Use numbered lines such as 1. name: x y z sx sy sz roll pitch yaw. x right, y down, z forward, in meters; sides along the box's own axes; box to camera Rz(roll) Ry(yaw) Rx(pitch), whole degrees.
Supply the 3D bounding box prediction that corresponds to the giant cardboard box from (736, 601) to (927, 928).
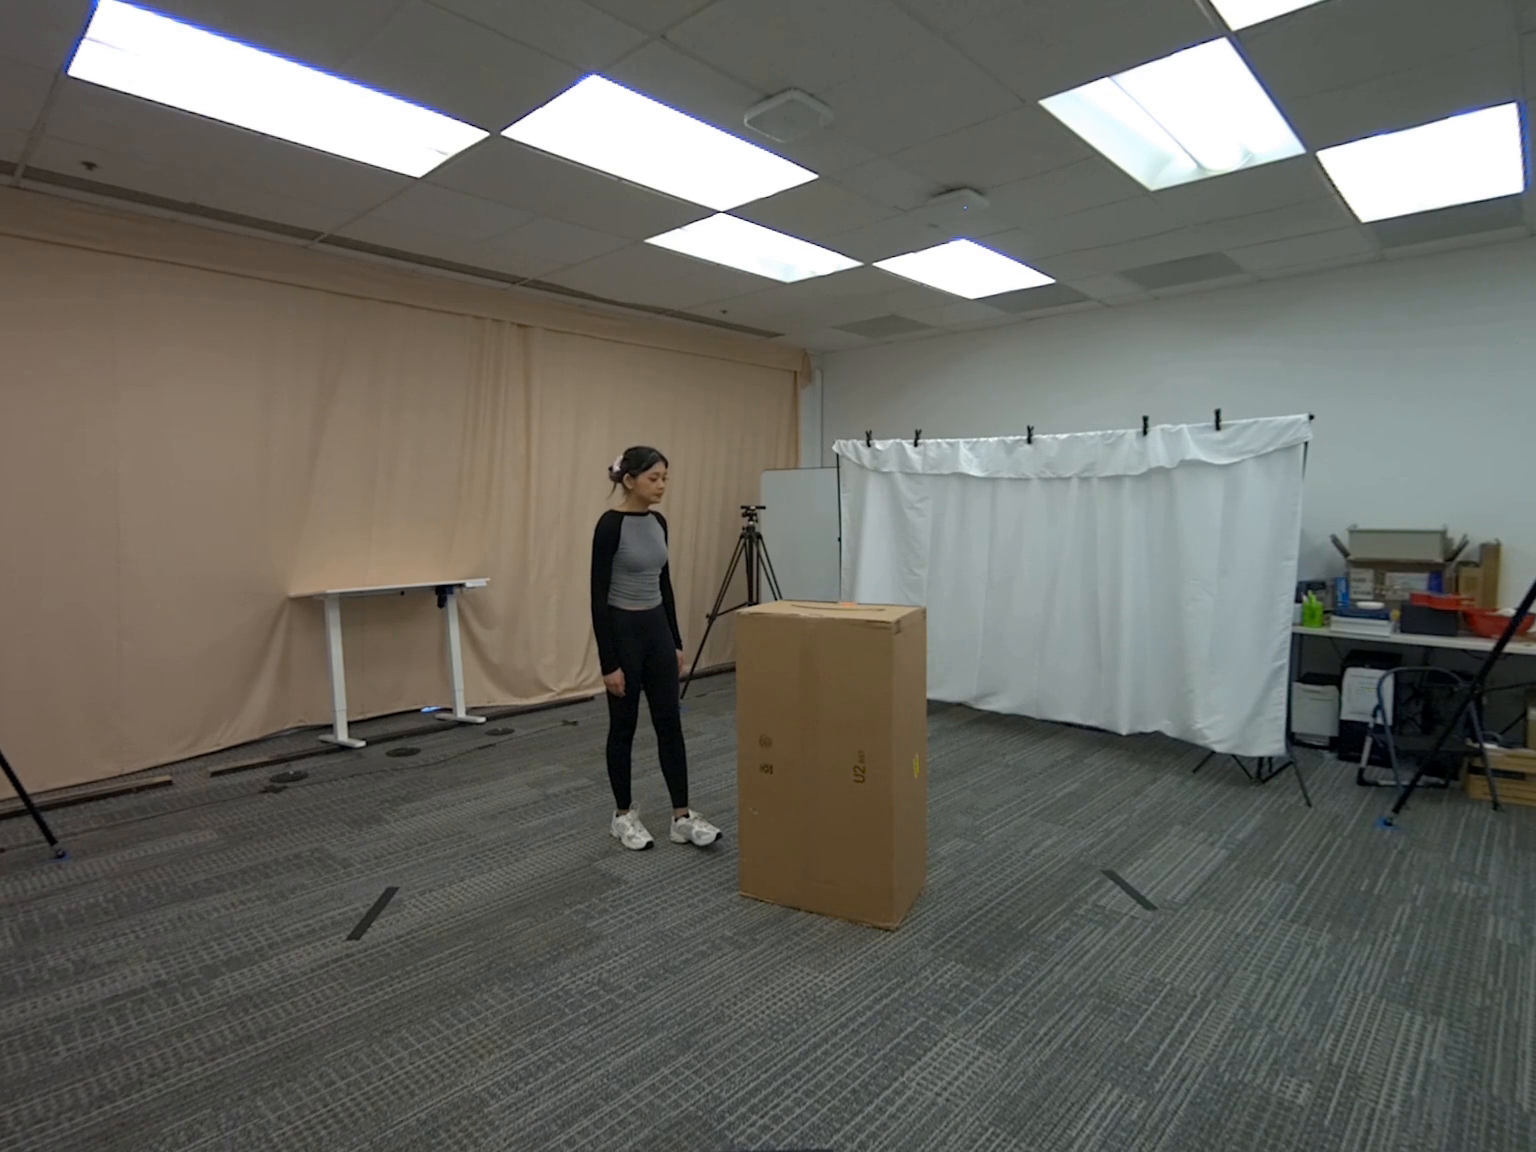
1. giant cardboard box: 0.241 0.631 3.042 0.599 1.024 0.436 1 4 26
